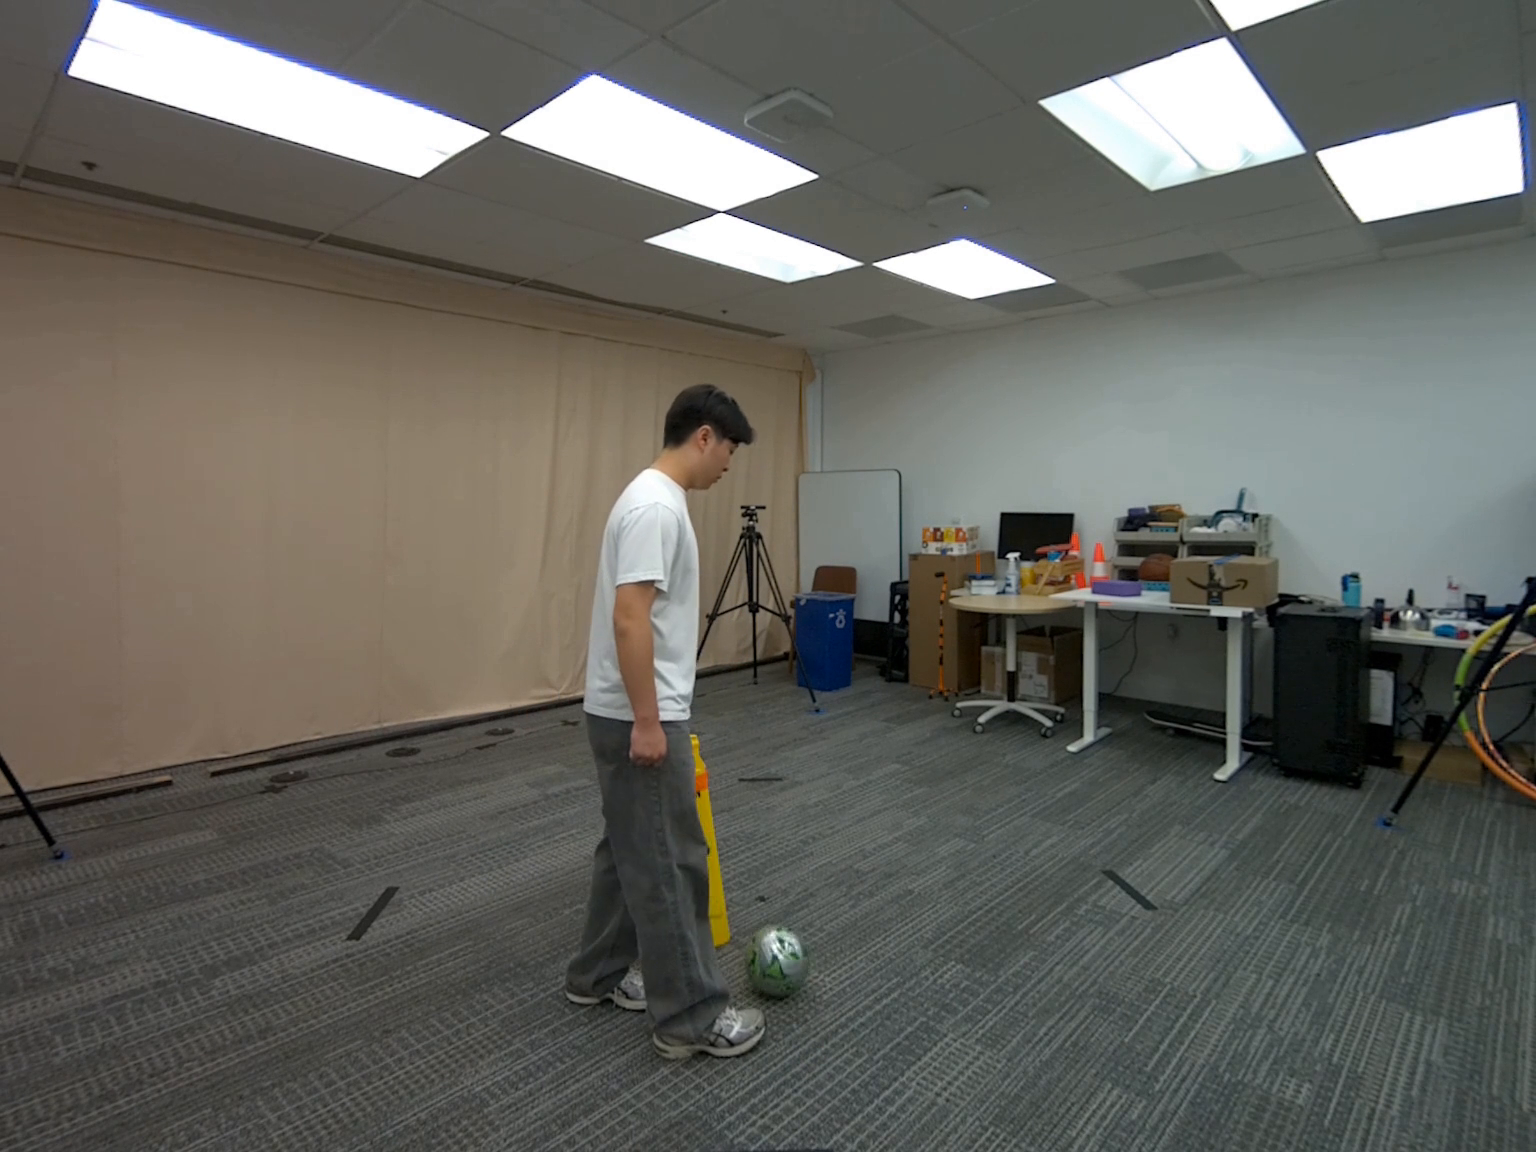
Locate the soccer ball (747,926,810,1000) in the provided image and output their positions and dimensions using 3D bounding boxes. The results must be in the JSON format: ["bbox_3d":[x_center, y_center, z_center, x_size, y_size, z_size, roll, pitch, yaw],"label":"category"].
[{"bbox_3d":[0.039,1.102,2.397,0.187,0.187,0.188,0,4,-2],"label":"soccer ball"}]
